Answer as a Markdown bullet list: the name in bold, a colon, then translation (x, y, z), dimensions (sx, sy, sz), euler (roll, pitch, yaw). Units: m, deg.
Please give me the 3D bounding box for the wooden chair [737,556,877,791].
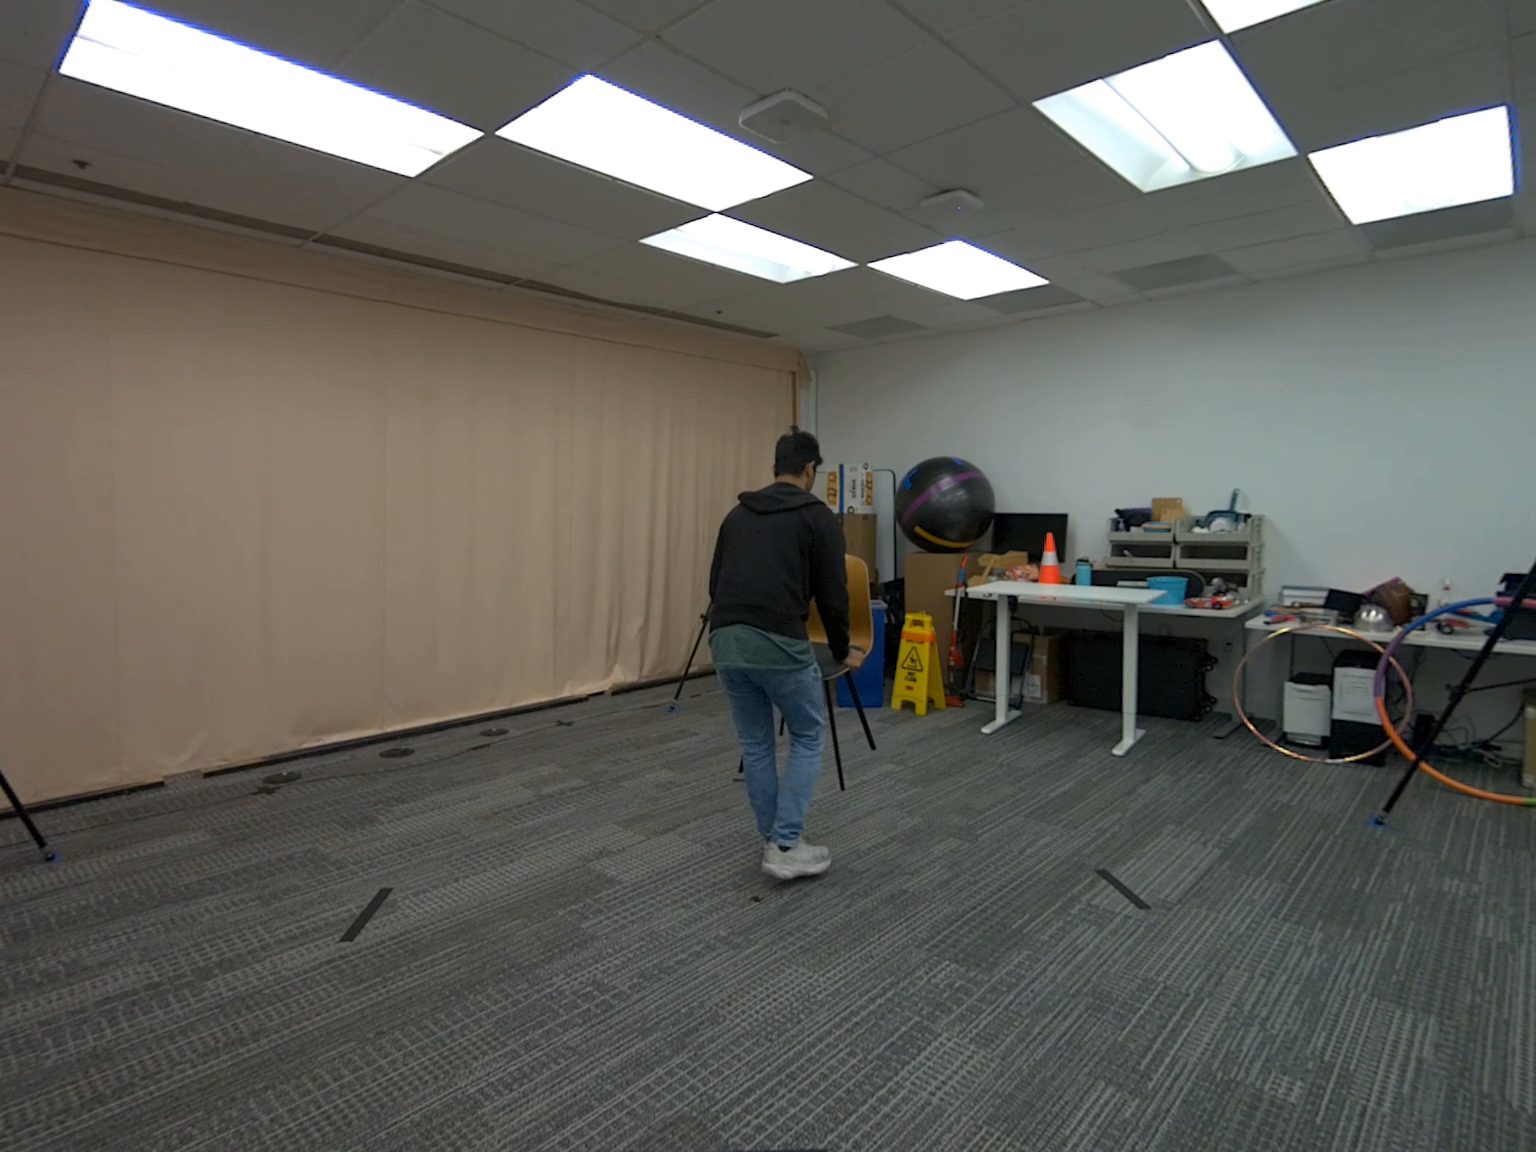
- **wooden chair**: translation (0.161, 0.368, 3.472), dimensions (0.491, 0.874, 0.511), euler (4, 6, 25)
